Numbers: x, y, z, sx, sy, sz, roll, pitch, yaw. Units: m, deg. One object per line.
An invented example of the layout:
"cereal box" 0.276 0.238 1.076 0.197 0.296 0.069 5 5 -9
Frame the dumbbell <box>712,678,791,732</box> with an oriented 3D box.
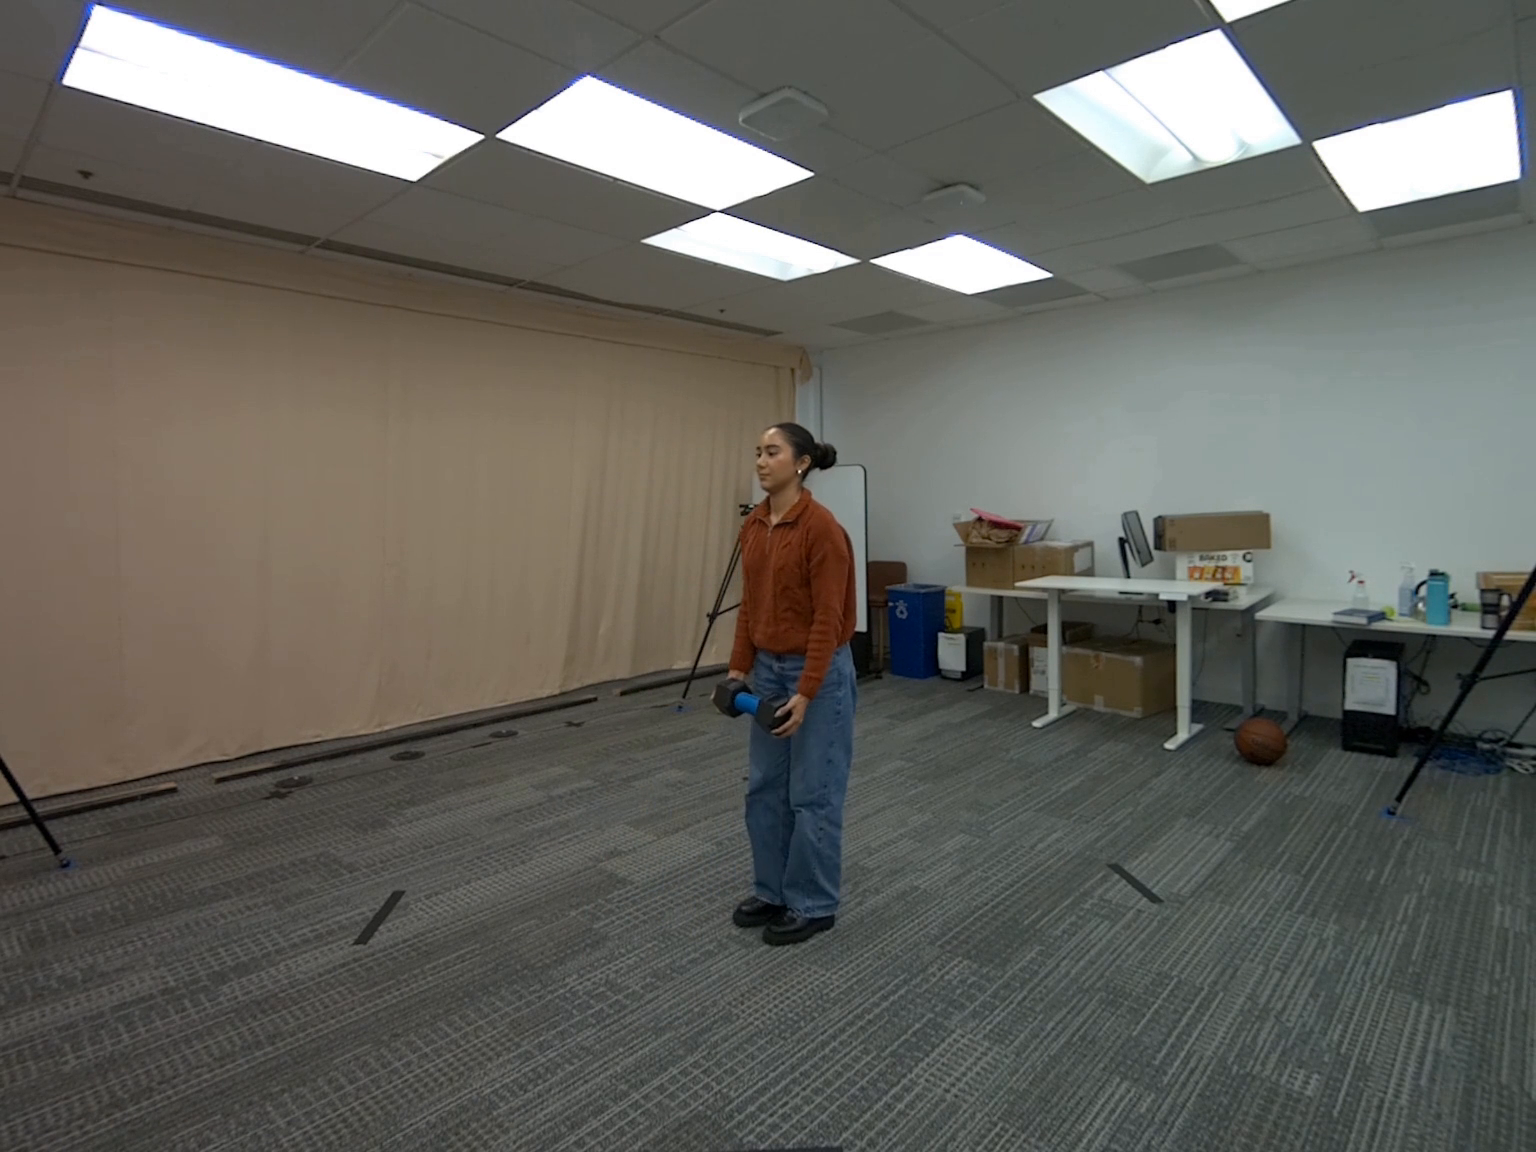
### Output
"dumbbell" -0.046 0.403 2.640 0.105 0.123 0.303 18 -5 -39
